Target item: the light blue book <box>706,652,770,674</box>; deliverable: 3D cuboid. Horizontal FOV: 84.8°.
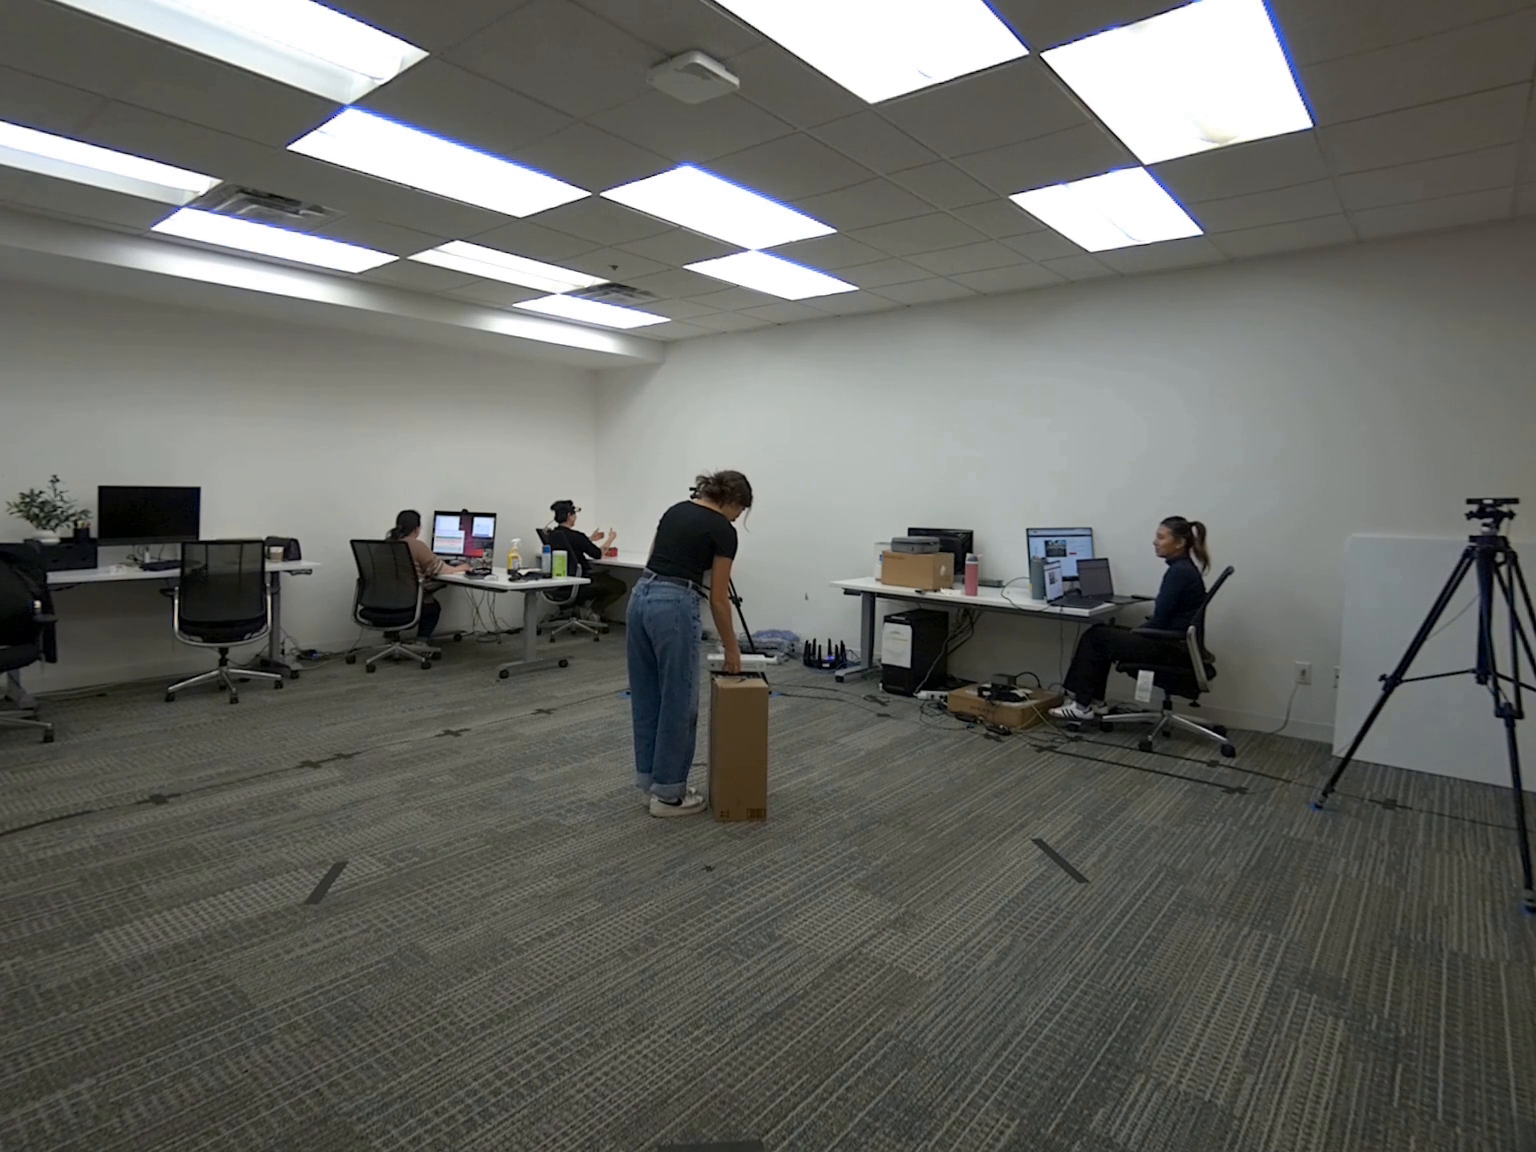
[{"bbox_3d":[-0.160,0.397,3.888,0.261,0.059,0.191,1,1,-2],"label":"light blue book"}]
